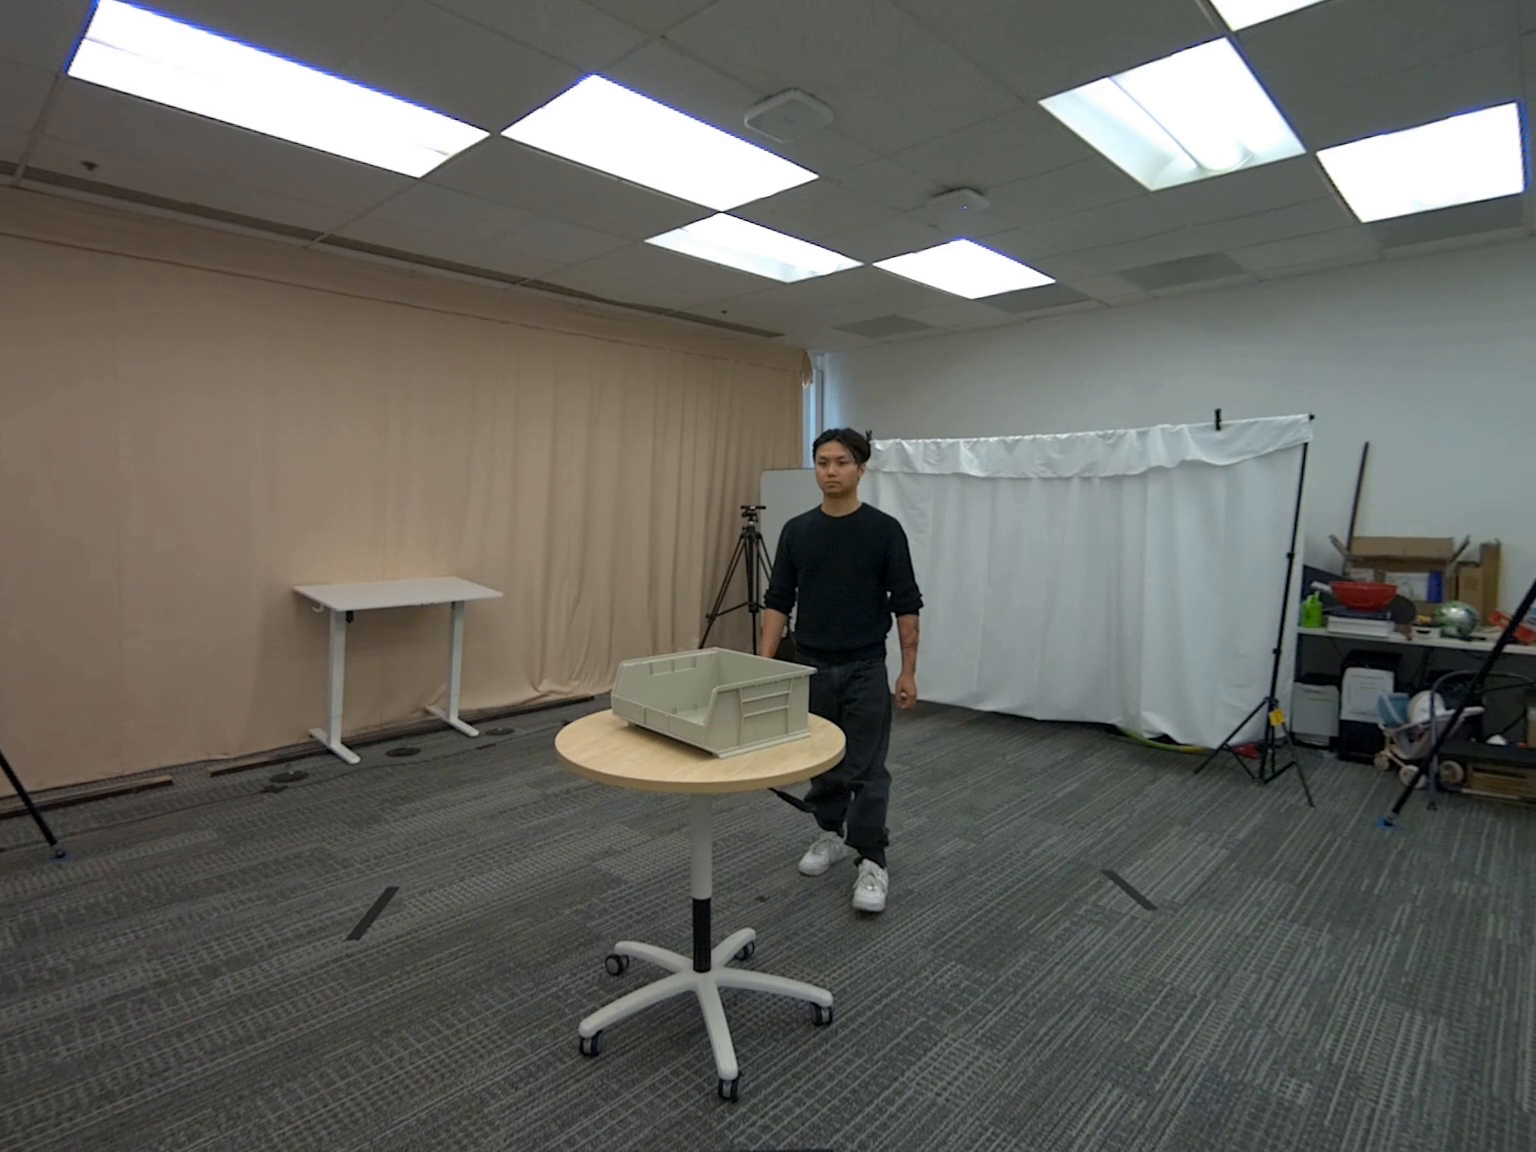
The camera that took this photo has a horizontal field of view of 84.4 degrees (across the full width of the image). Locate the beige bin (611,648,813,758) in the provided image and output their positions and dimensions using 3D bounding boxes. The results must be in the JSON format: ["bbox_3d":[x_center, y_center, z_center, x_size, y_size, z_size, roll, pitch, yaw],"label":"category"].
[{"bbox_3d":[-0.152,0.330,2.265,0.366,0.189,0.436,-2,4,-40],"label":"beige bin"}]
